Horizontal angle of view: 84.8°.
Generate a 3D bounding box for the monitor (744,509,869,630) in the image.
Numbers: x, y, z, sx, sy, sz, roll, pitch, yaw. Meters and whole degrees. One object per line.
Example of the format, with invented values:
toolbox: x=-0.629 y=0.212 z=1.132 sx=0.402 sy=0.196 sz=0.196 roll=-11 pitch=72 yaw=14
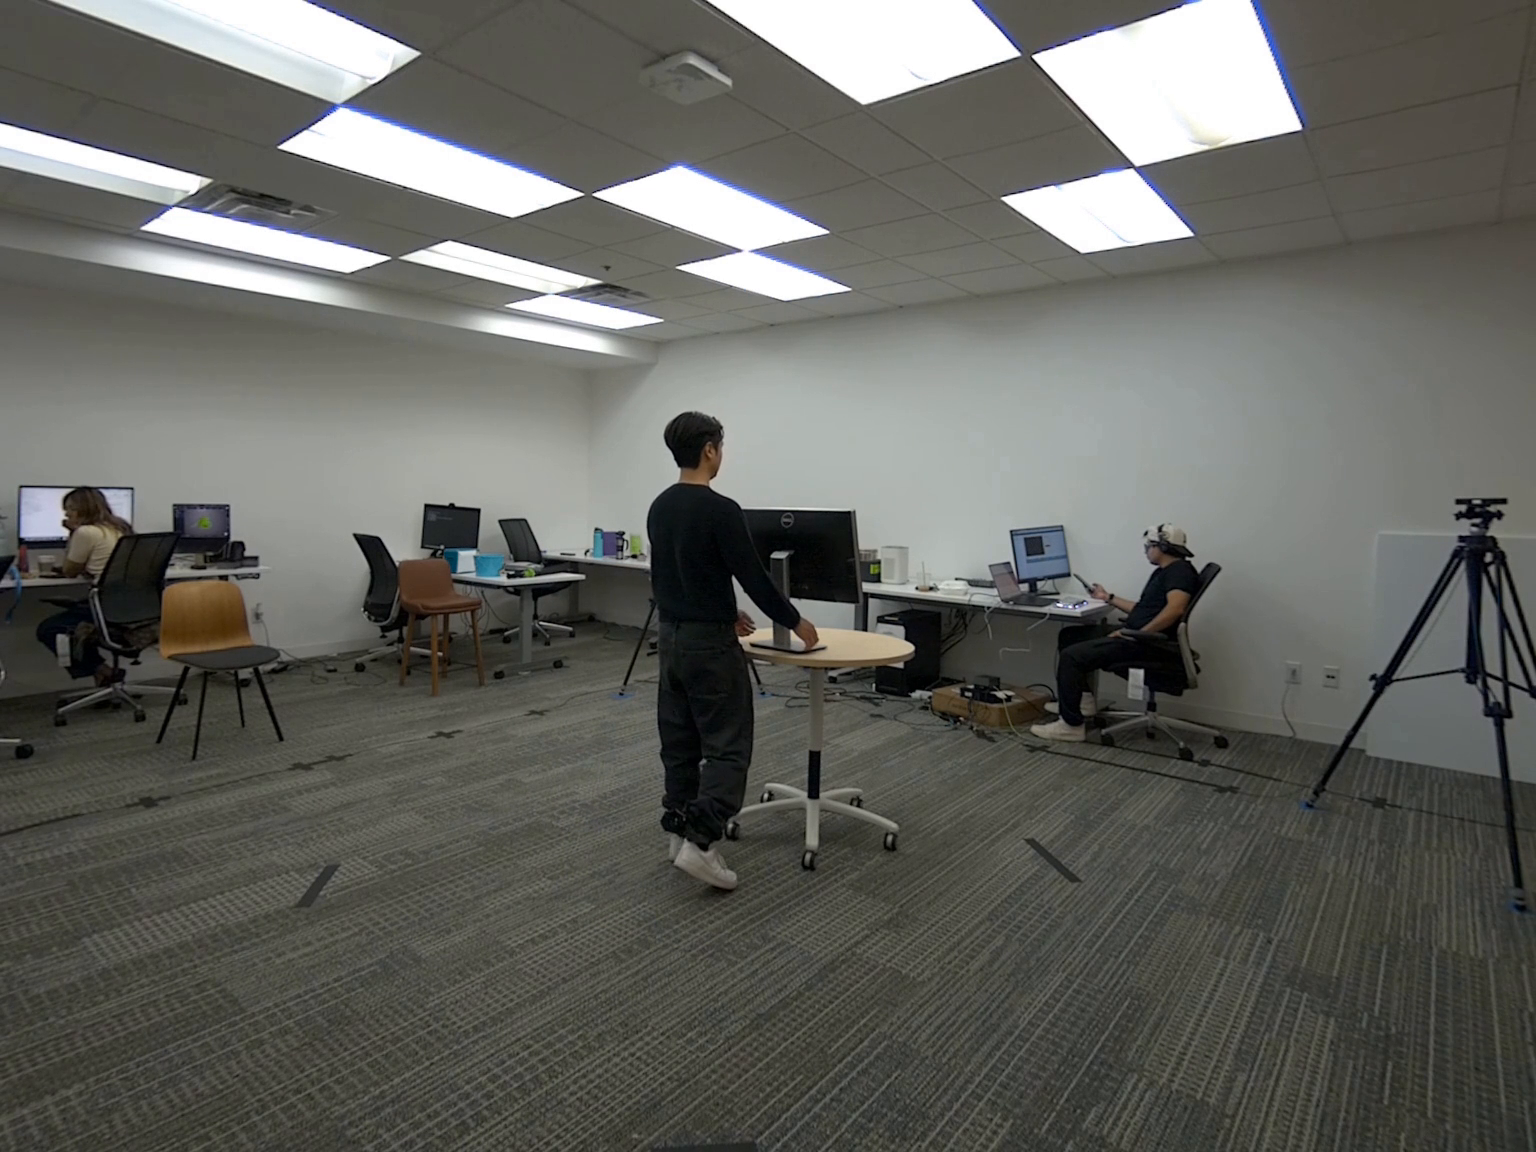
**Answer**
monitor: x=0.076 y=0.008 z=3.292 sx=0.556 sy=0.521 sz=0.182 roll=3 pitch=3 yaw=34
